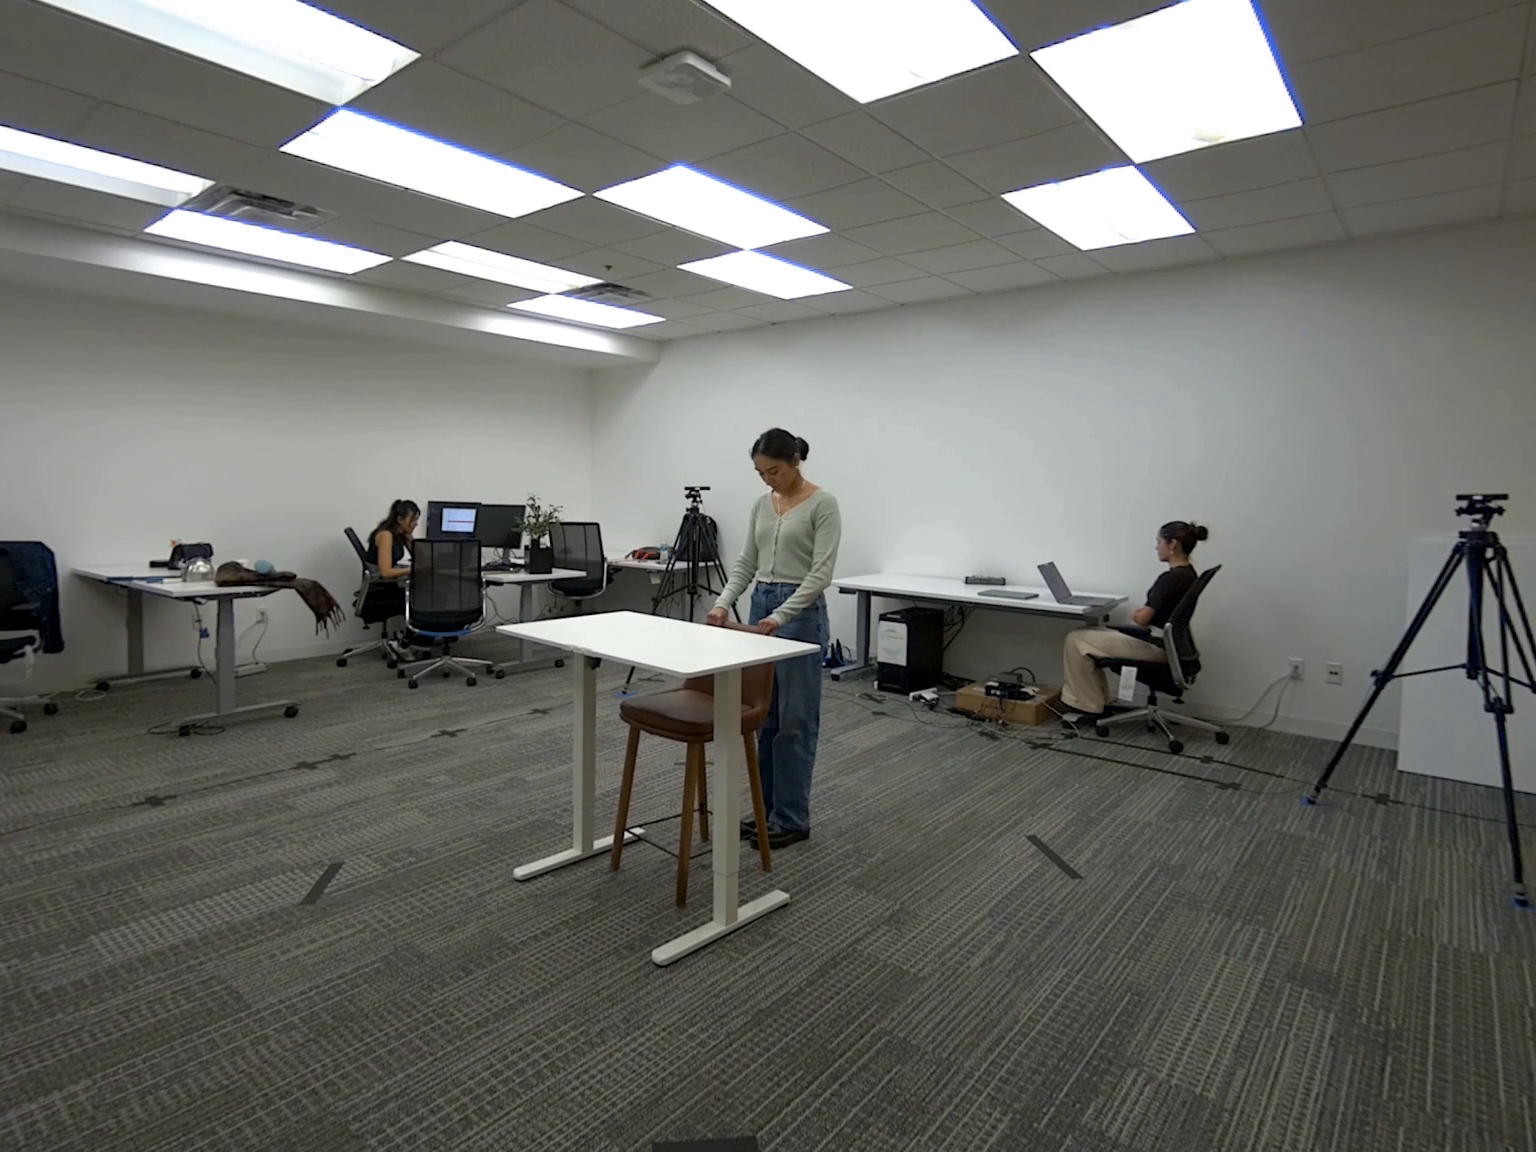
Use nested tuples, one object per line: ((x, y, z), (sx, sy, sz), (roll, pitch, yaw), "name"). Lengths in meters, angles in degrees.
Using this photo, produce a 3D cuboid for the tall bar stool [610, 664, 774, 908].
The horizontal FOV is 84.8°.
((-0.263, 0.631, 3.078), (0.452, 0.889, 0.472), (1, 2, -43), "tall bar stool")
